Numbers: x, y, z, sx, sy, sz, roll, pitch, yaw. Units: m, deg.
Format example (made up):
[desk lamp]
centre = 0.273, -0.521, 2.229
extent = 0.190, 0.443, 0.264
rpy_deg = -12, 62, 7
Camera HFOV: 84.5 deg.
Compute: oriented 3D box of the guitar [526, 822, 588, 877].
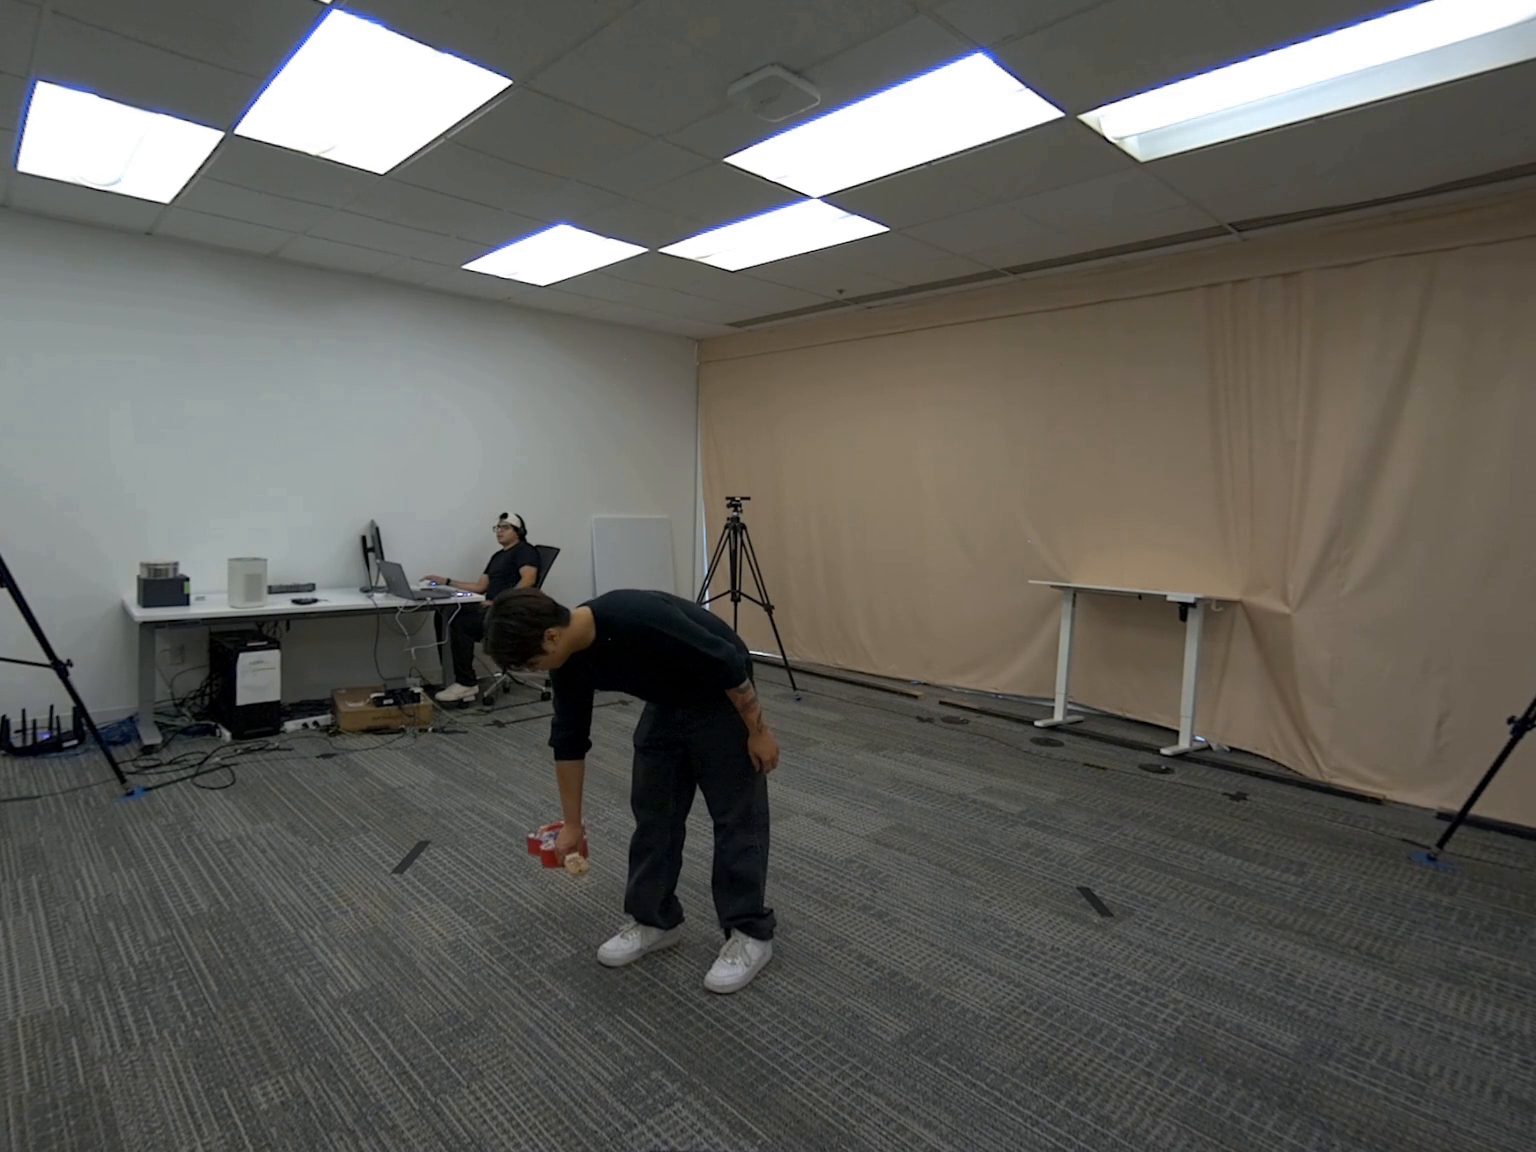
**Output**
[guitar]
centre = -0.674, 0.875, 2.604
extent = 0.191, 0.070, 0.503
rpy_deg = -9, 4, -13
